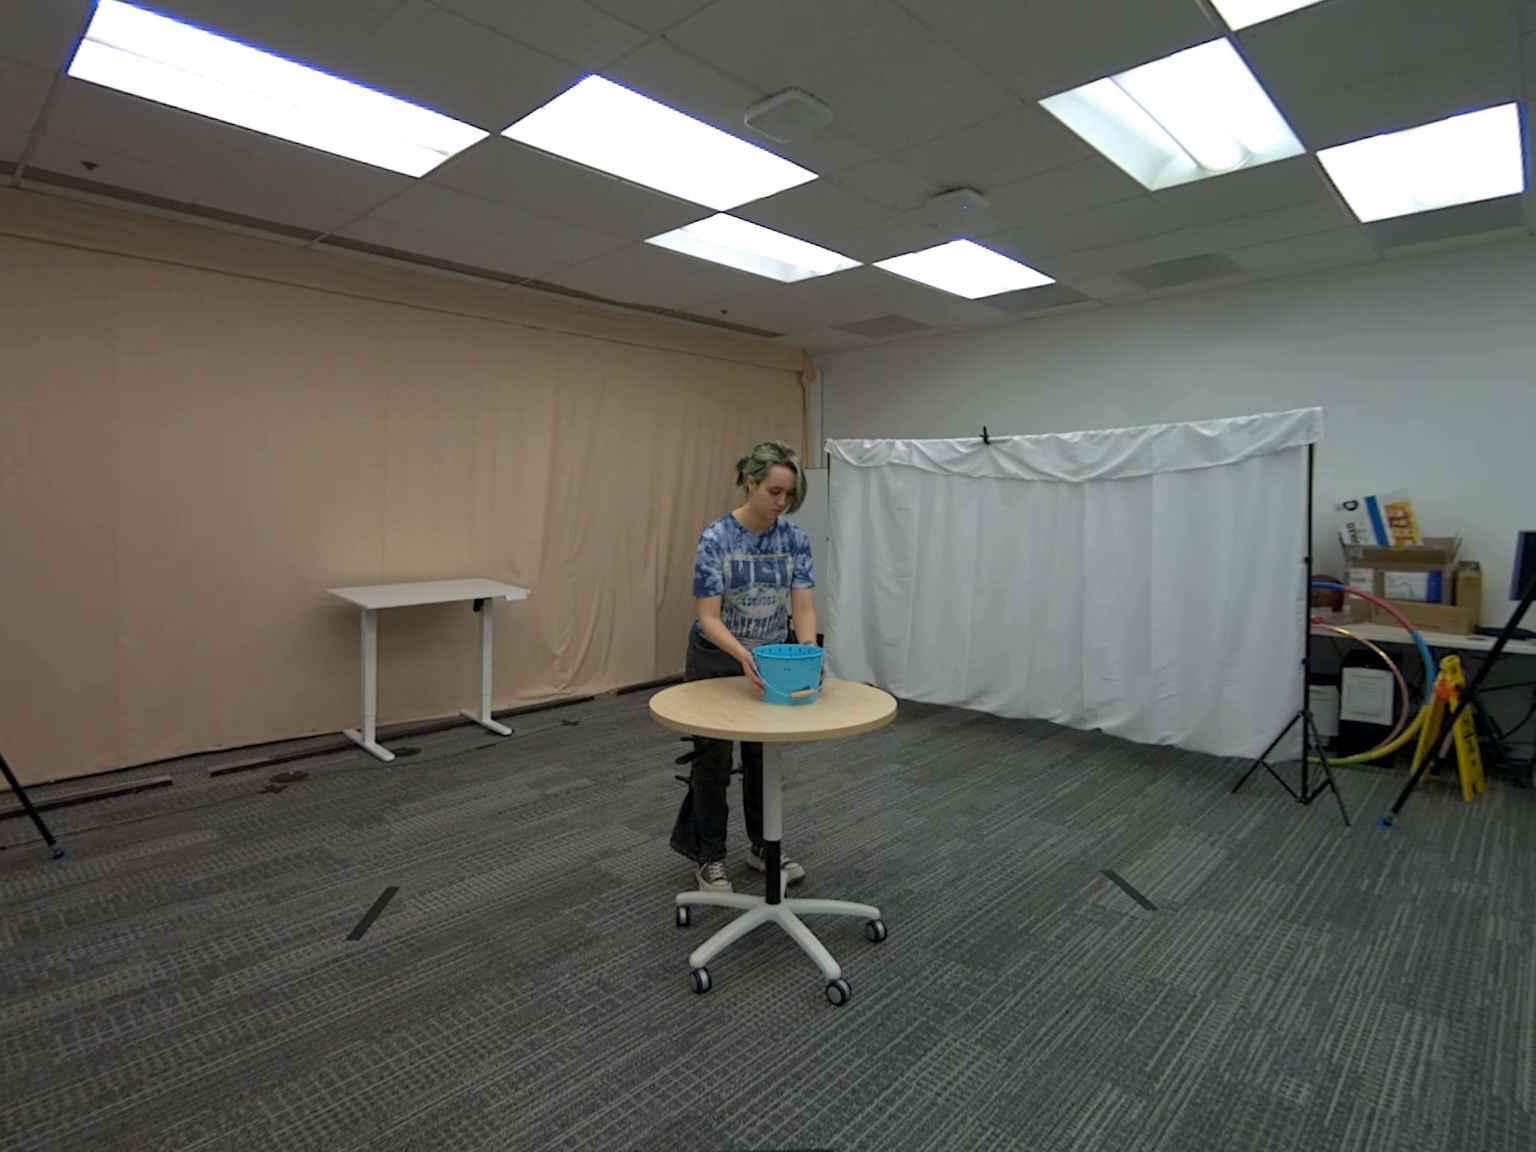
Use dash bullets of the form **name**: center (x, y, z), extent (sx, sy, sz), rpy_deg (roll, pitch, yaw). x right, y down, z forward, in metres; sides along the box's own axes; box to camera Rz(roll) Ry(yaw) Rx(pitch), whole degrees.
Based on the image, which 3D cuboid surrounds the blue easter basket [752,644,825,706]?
- **blue easter basket**: center (0.081, 0.318, 2.650), extent (0.243, 0.156, 0.244), rpy_deg (-1, 2, -2)
